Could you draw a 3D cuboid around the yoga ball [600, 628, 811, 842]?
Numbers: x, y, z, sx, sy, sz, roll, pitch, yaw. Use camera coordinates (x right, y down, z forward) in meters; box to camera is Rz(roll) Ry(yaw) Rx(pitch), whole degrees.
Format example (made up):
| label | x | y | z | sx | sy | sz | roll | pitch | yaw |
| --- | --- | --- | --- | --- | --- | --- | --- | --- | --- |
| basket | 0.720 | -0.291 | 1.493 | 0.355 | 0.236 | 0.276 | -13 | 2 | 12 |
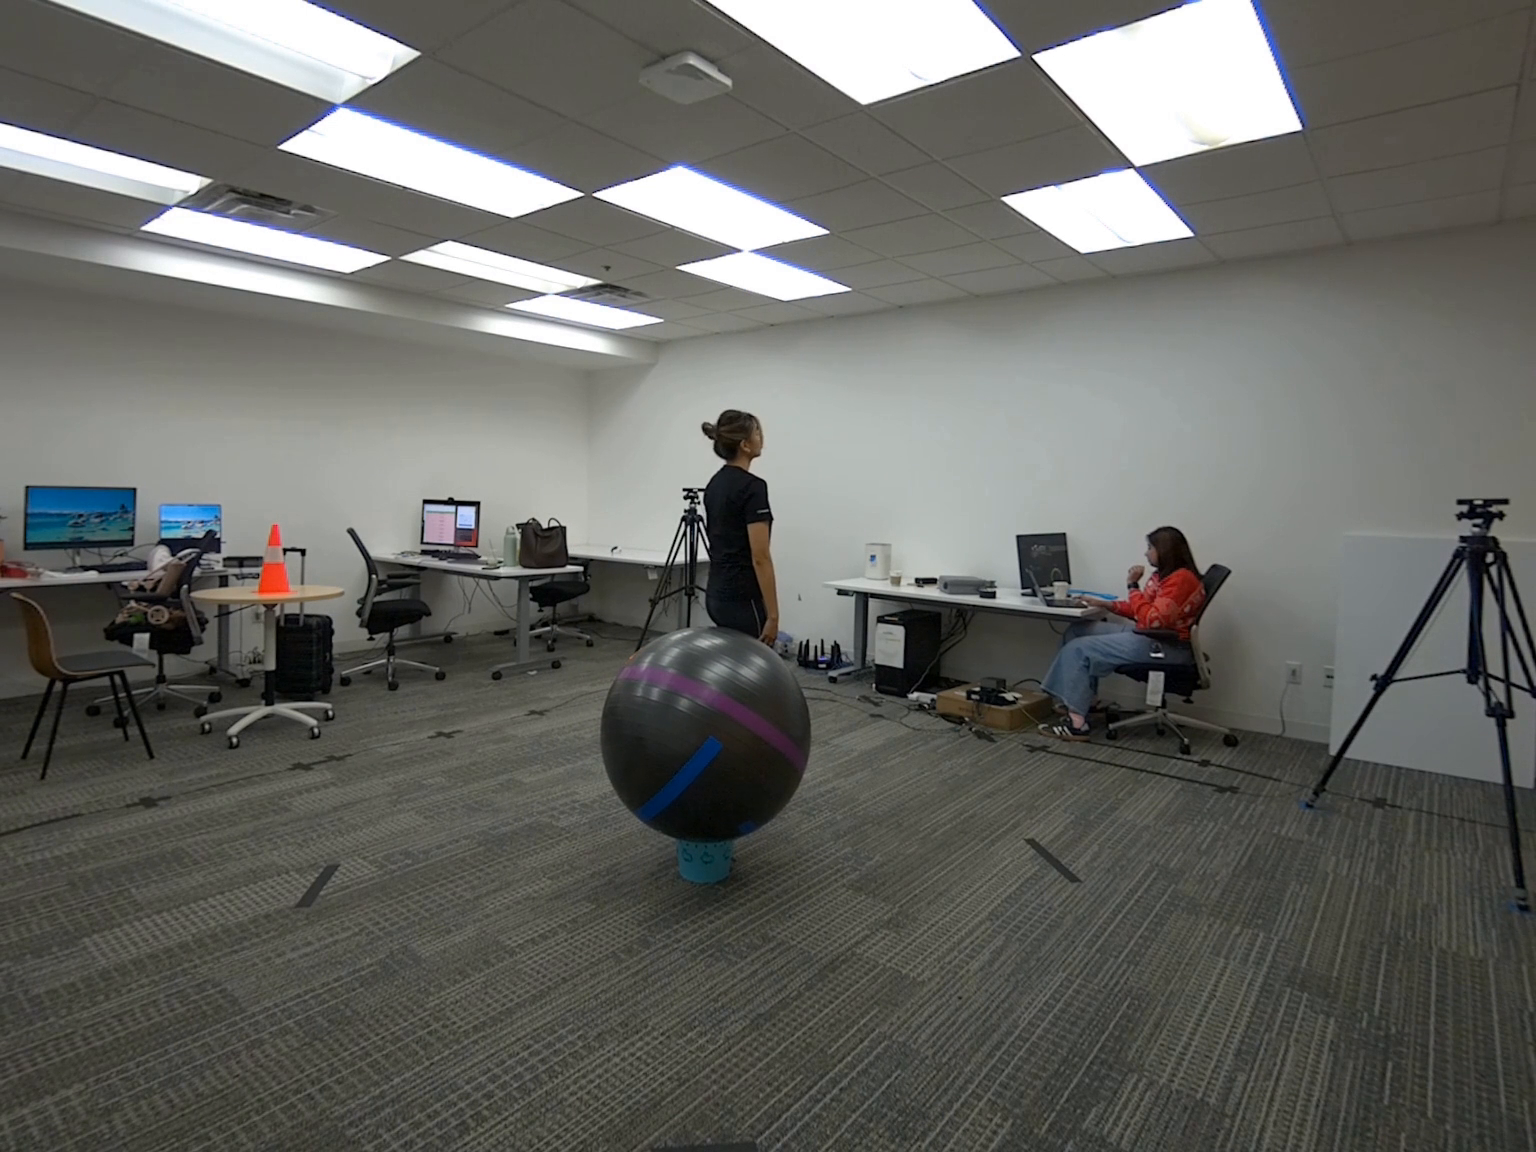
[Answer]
| label | x | y | z | sx | sy | sz | roll | pitch | yaw |
| --- | --- | --- | --- | --- | --- | --- | --- | --- | --- |
| yoga ball | -0.231 | 0.561 | 3.071 | 0.757 | 0.756 | 0.761 | 1 | 4 | -2 |
